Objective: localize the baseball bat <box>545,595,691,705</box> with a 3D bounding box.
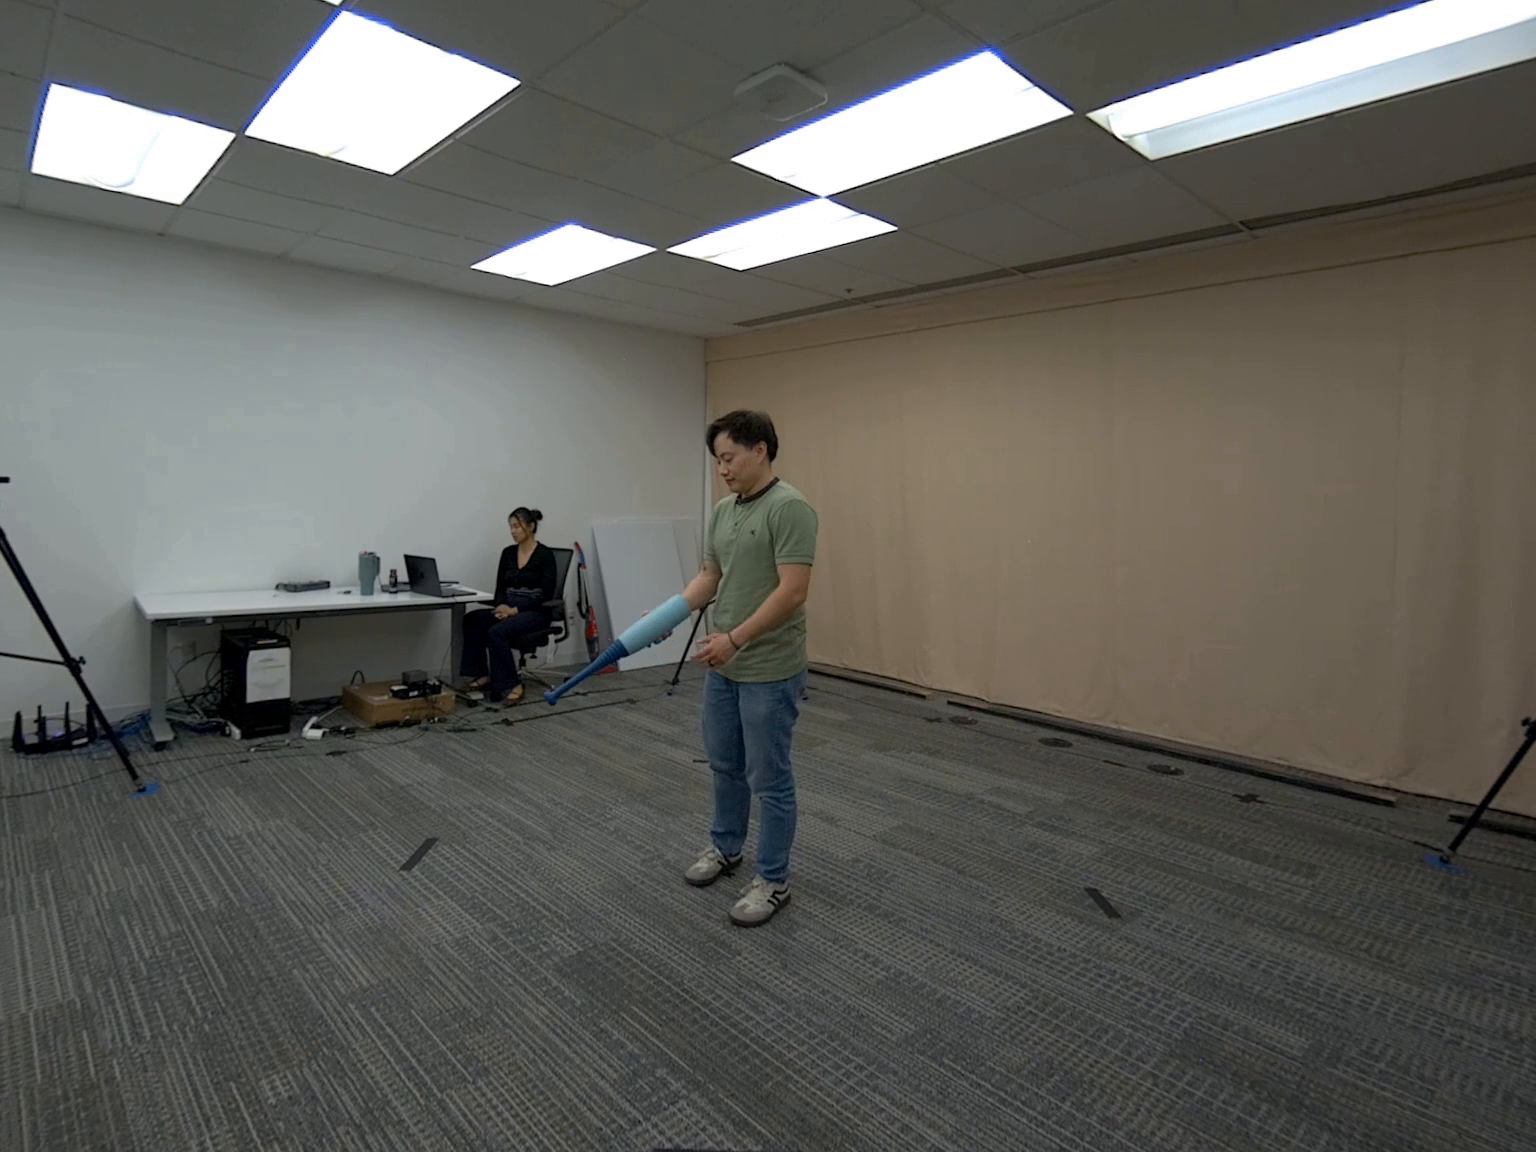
[{"bbox_3d":[-0.485,0.243,2.702,0.541,0.088,0.091,-34,16,-16],"label":"baseball bat"}]
